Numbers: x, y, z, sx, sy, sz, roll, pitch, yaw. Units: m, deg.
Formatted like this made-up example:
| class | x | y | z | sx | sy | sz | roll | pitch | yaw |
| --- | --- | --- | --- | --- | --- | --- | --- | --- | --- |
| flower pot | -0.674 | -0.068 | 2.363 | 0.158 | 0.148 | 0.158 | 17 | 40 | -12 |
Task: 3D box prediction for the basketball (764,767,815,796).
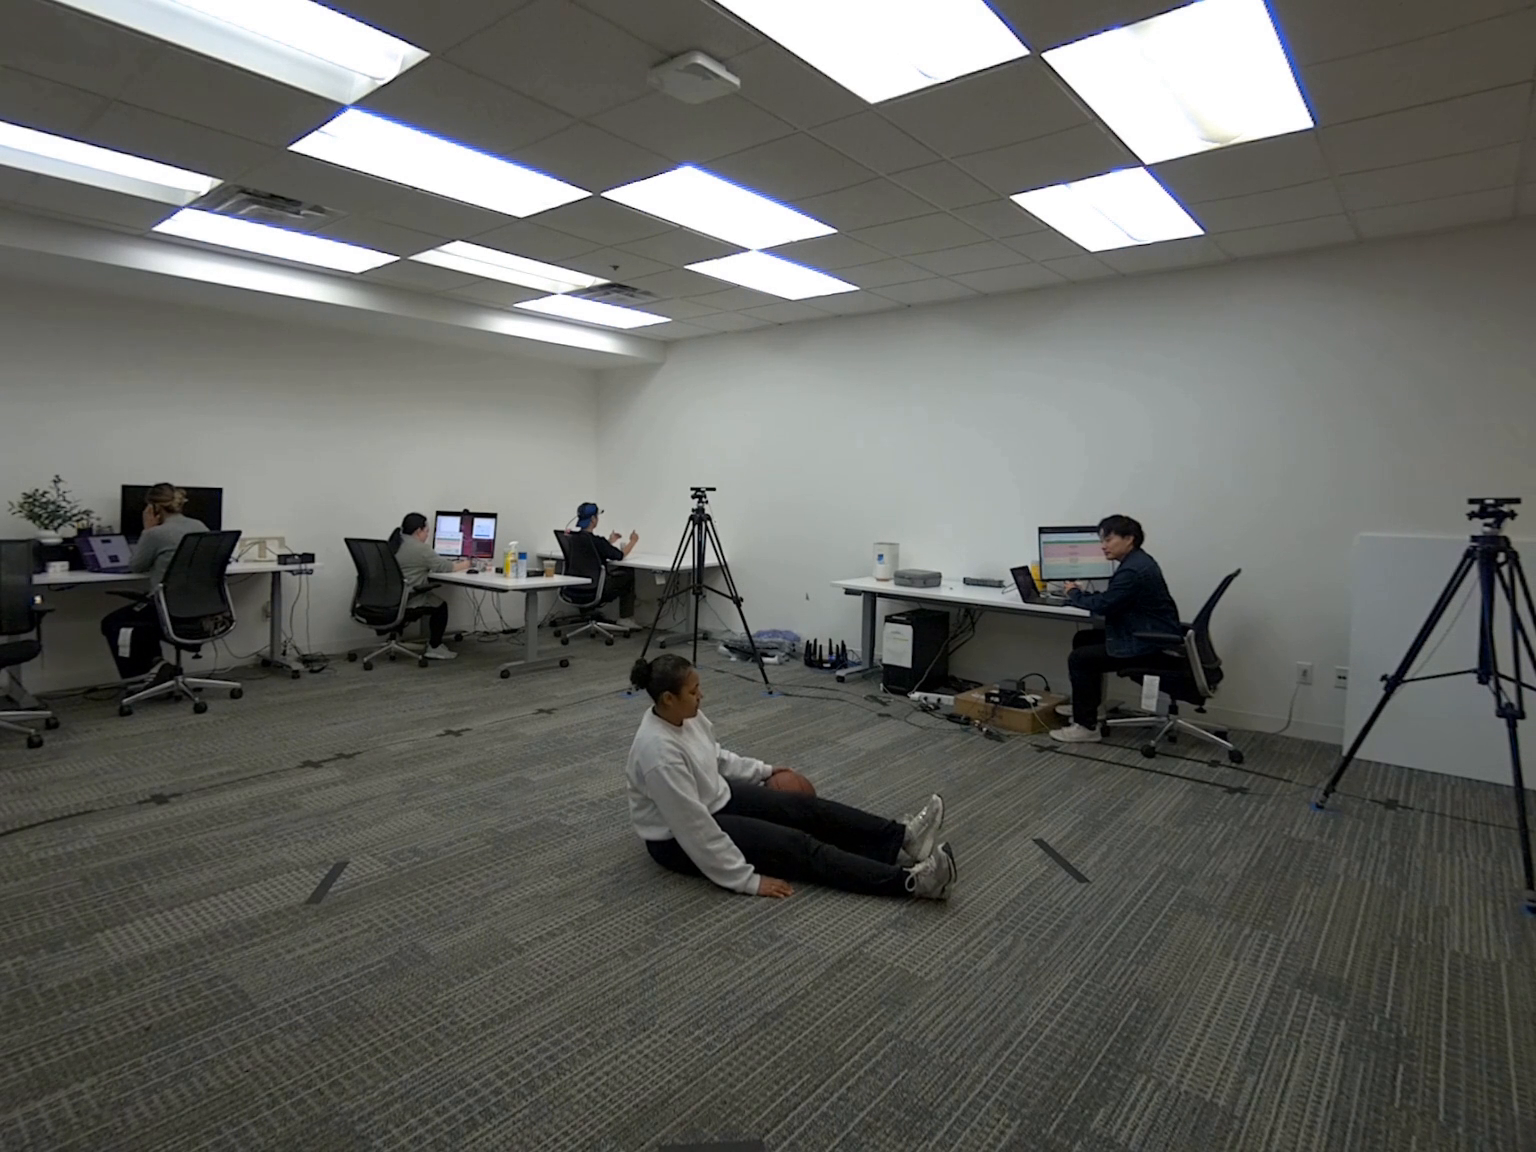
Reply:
| class | x | y | z | sx | sy | sz | roll | pitch | yaw |
| --- | --- | --- | --- | --- | --- | --- | --- | --- | --- |
| basketball | 0.073 | 0.917 | 3.465 | 0.235 | 0.235 | 0.237 | 1 | 4 | -2 |
